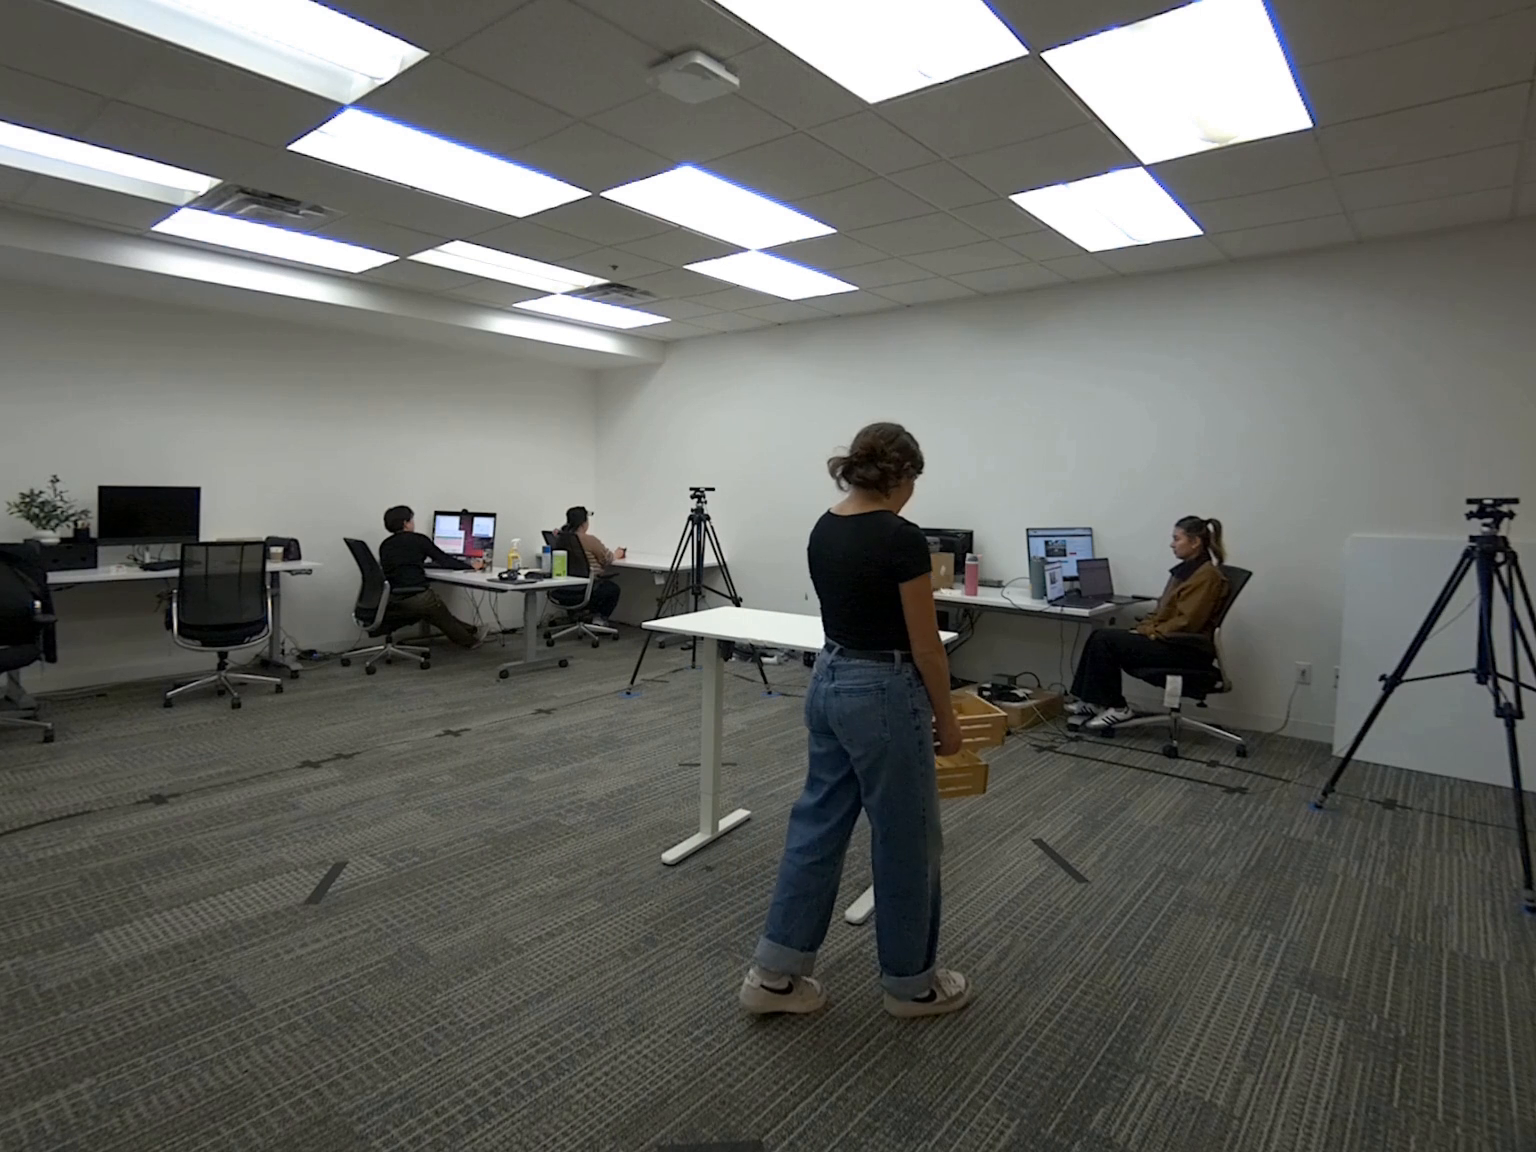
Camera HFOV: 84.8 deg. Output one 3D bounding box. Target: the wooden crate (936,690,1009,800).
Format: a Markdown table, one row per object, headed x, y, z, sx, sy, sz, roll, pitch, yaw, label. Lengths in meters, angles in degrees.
| x | y | z | sx | sy | sz | roll | pitch | yaw | label |
| --- | --- | --- | --- | --- | --- | --- | --- | --- | --- |
| 0.454 | 0.467 | 2.441 | 0.318 | 0.270 | 0.311 | -2 | 14 | -19 | wooden crate |
